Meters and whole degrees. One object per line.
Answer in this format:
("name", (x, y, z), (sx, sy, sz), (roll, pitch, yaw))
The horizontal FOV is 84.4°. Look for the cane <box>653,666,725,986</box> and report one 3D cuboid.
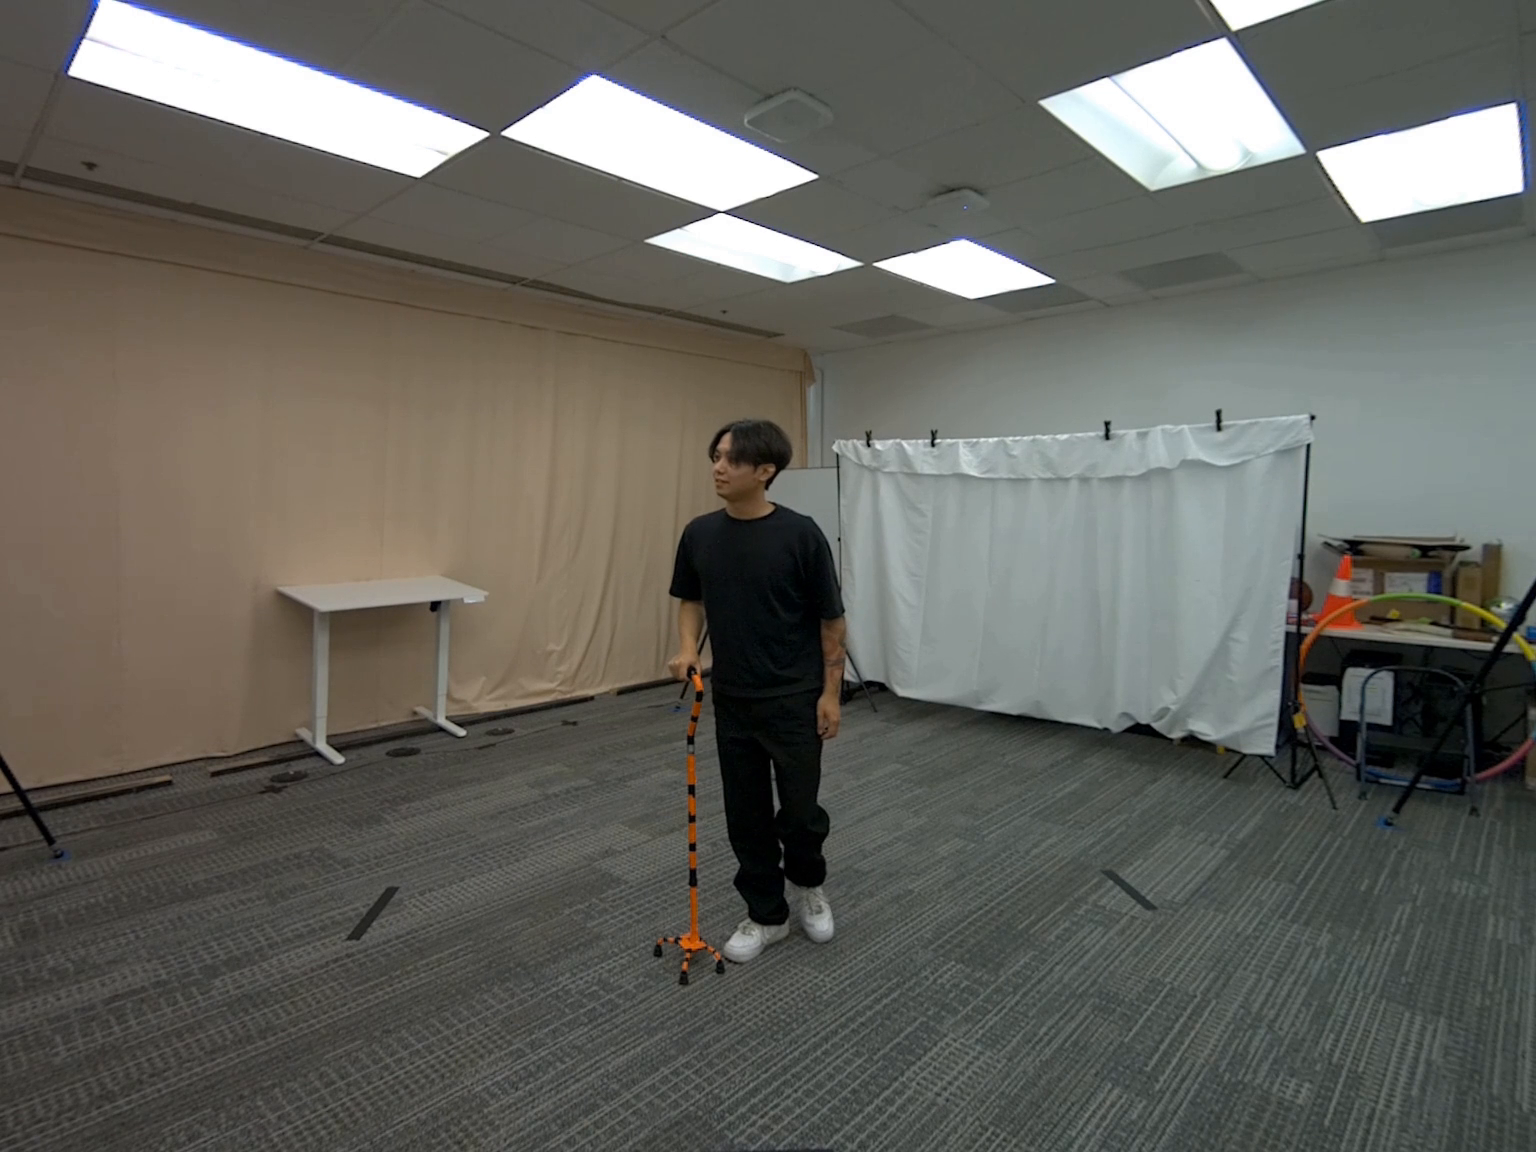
("cane", (-0.243, 0.732, 2.538), (0.147, 0.906, 0.213), (-2, 4, -33))
